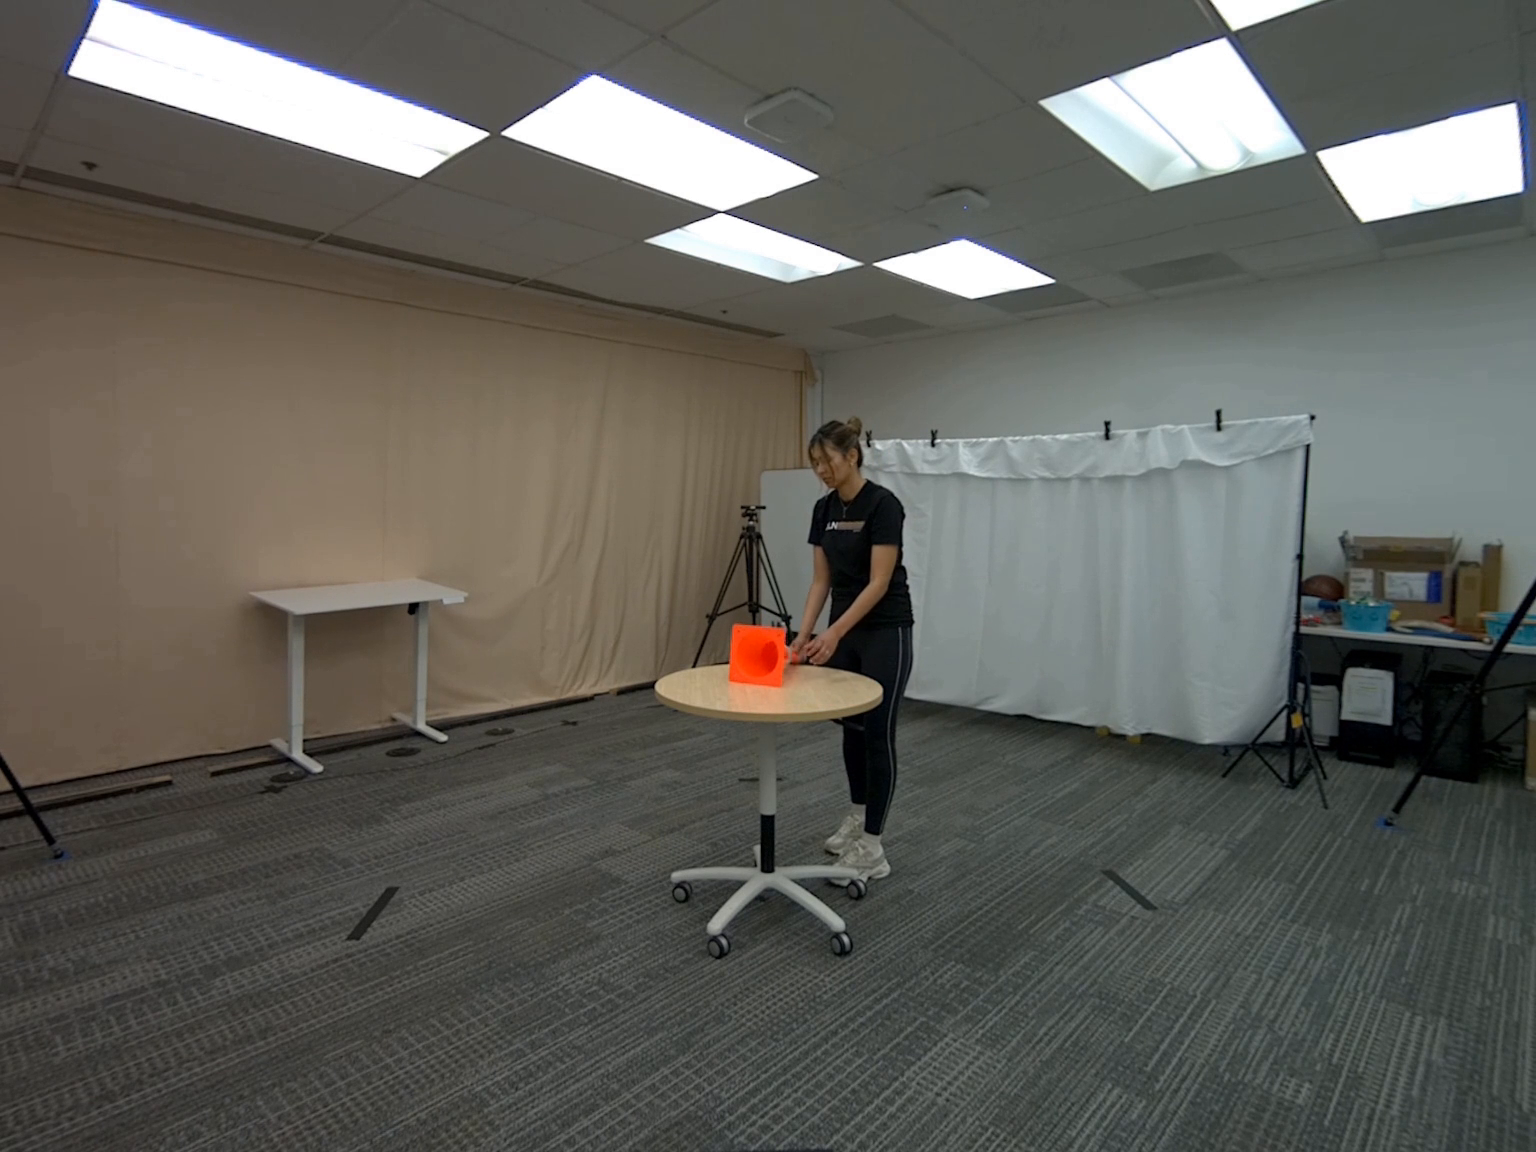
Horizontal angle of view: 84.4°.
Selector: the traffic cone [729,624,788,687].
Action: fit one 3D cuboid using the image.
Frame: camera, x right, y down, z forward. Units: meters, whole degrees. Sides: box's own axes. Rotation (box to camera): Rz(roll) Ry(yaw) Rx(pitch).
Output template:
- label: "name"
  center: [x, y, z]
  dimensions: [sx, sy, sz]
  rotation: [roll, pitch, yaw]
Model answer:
- label: "traffic cone"
  center: [0.032, 0.295, 3.037]
  dimensions: [0.208, 0.205, 0.373]
  rotation: [3, -6, 22]
